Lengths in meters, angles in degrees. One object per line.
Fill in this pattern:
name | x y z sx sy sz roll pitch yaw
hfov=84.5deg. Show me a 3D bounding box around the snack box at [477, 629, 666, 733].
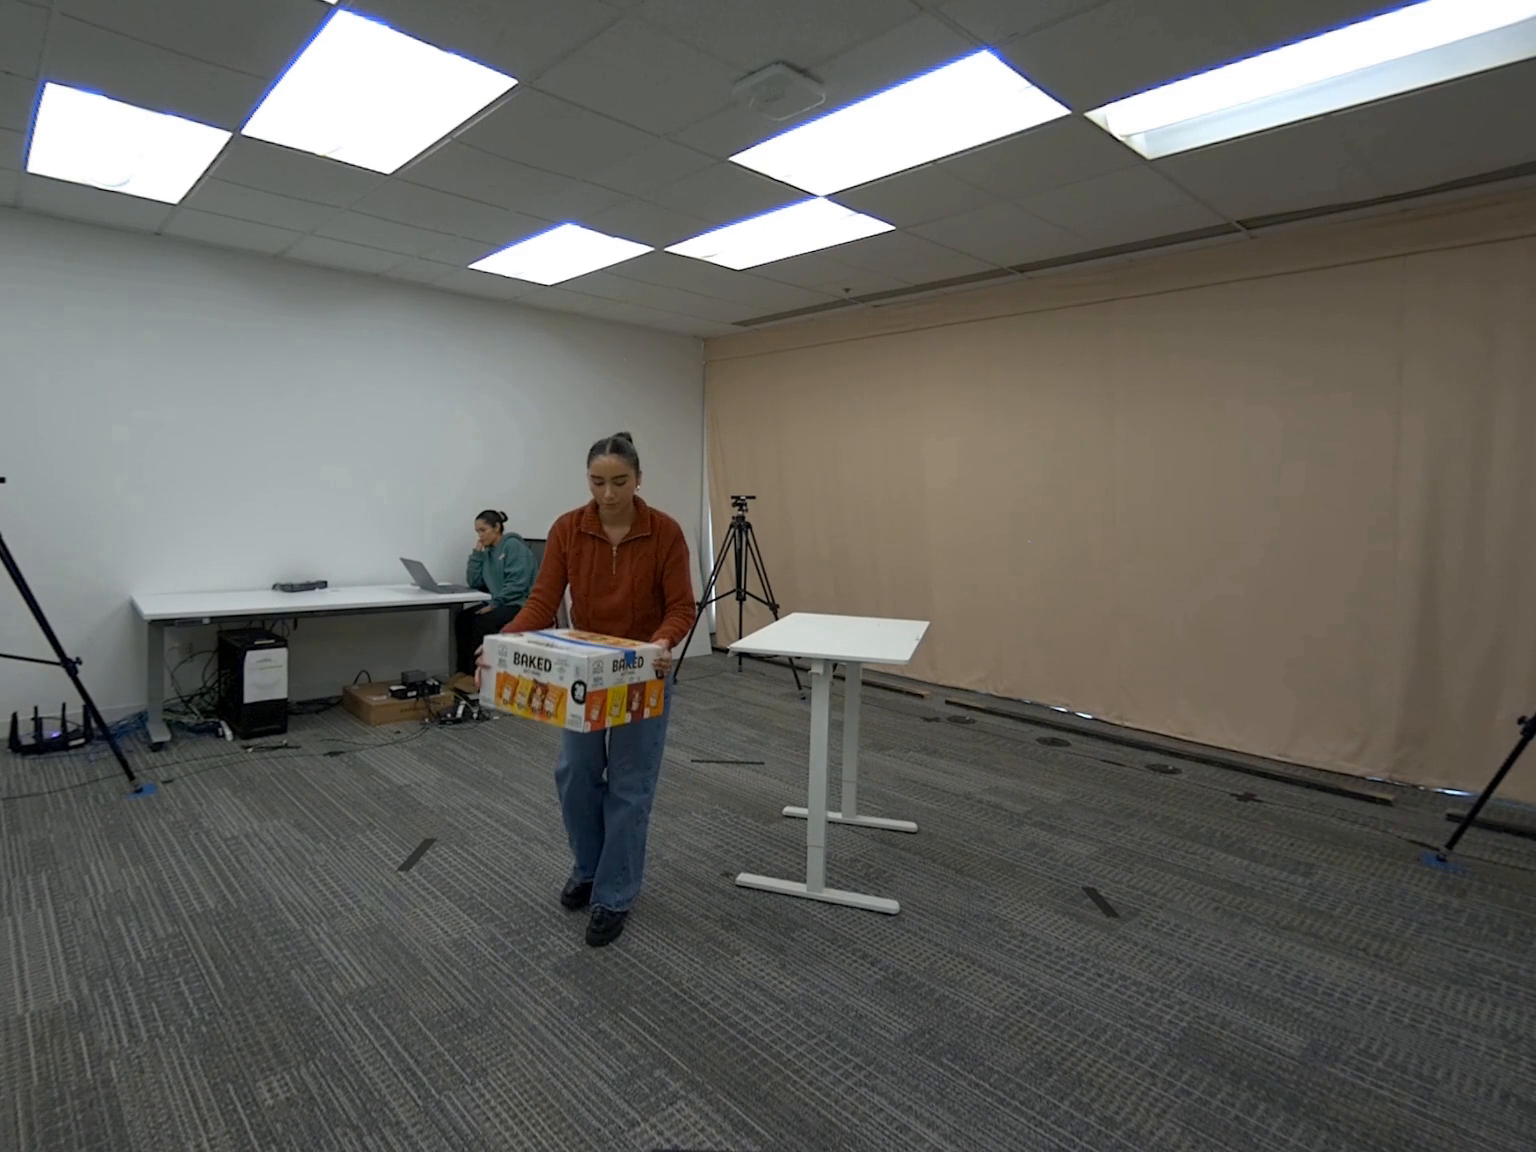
snack box | -0.575 0.305 2.451 0.415 0.205 0.333 7 3 32
